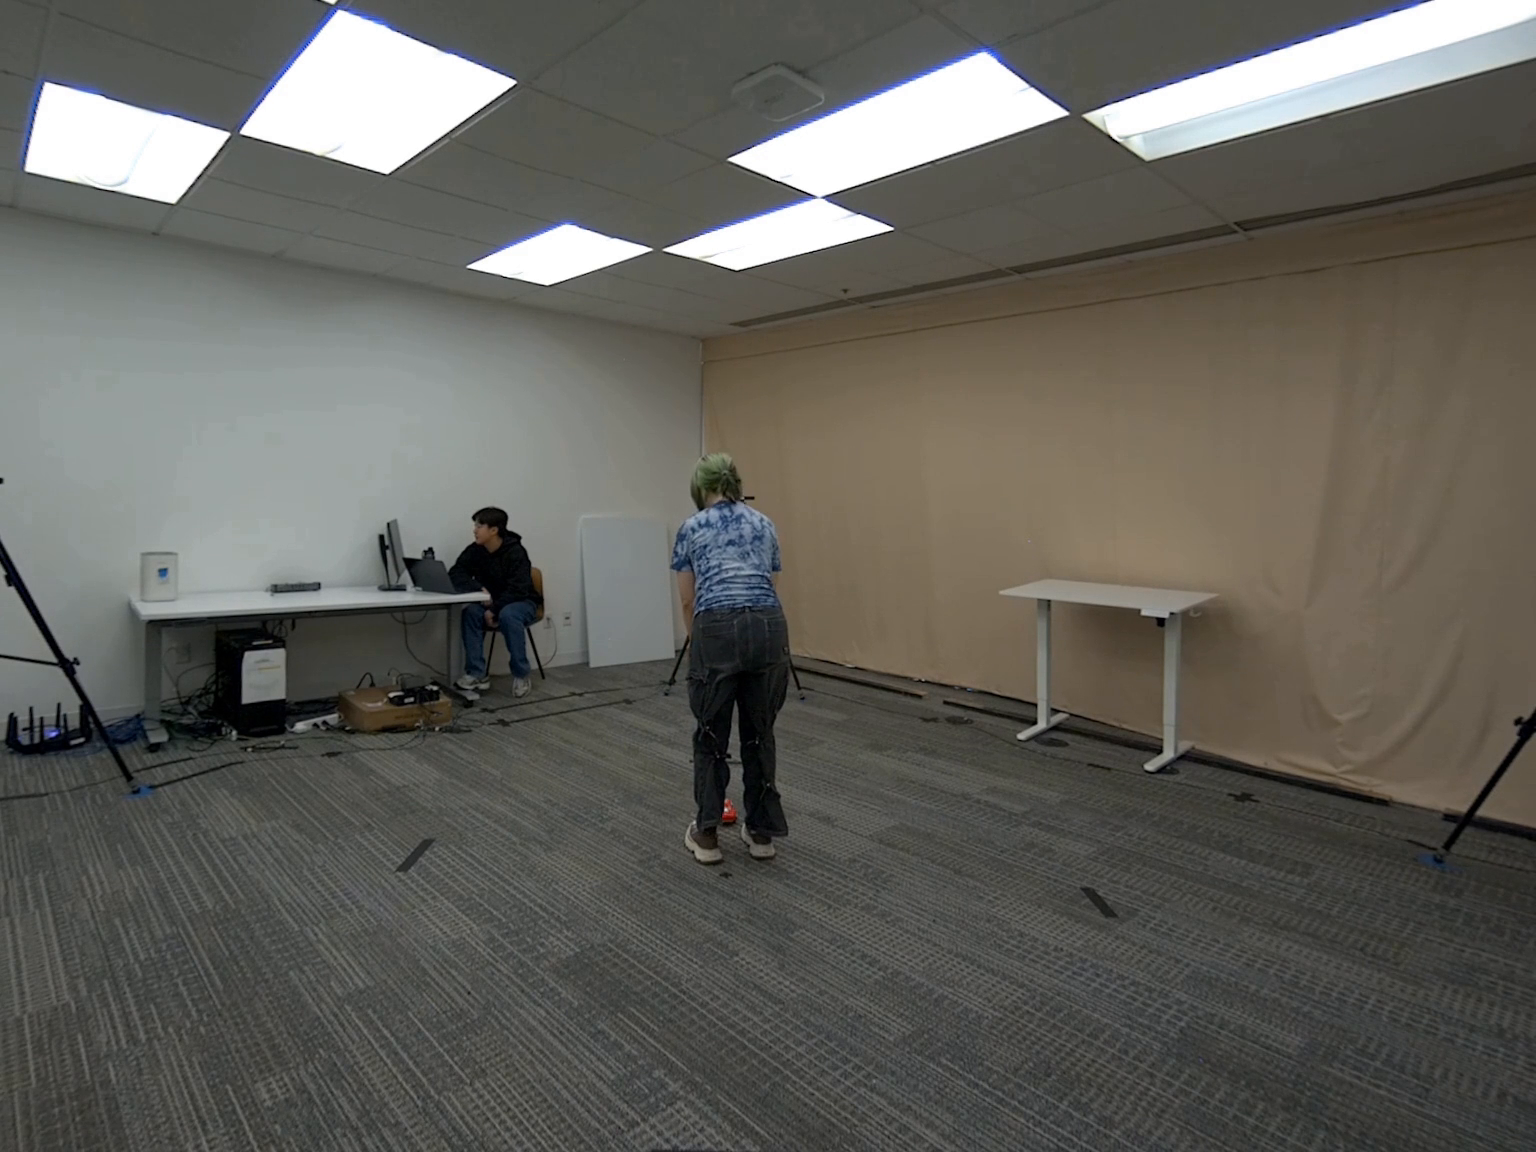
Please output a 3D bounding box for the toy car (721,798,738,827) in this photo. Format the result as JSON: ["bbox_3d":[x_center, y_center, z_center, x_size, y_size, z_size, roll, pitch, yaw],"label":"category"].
[{"bbox_3d":[-0.212,1.023,3.663,0.129,0.083,0.255,2,-6,-9],"label":"toy car"}]
